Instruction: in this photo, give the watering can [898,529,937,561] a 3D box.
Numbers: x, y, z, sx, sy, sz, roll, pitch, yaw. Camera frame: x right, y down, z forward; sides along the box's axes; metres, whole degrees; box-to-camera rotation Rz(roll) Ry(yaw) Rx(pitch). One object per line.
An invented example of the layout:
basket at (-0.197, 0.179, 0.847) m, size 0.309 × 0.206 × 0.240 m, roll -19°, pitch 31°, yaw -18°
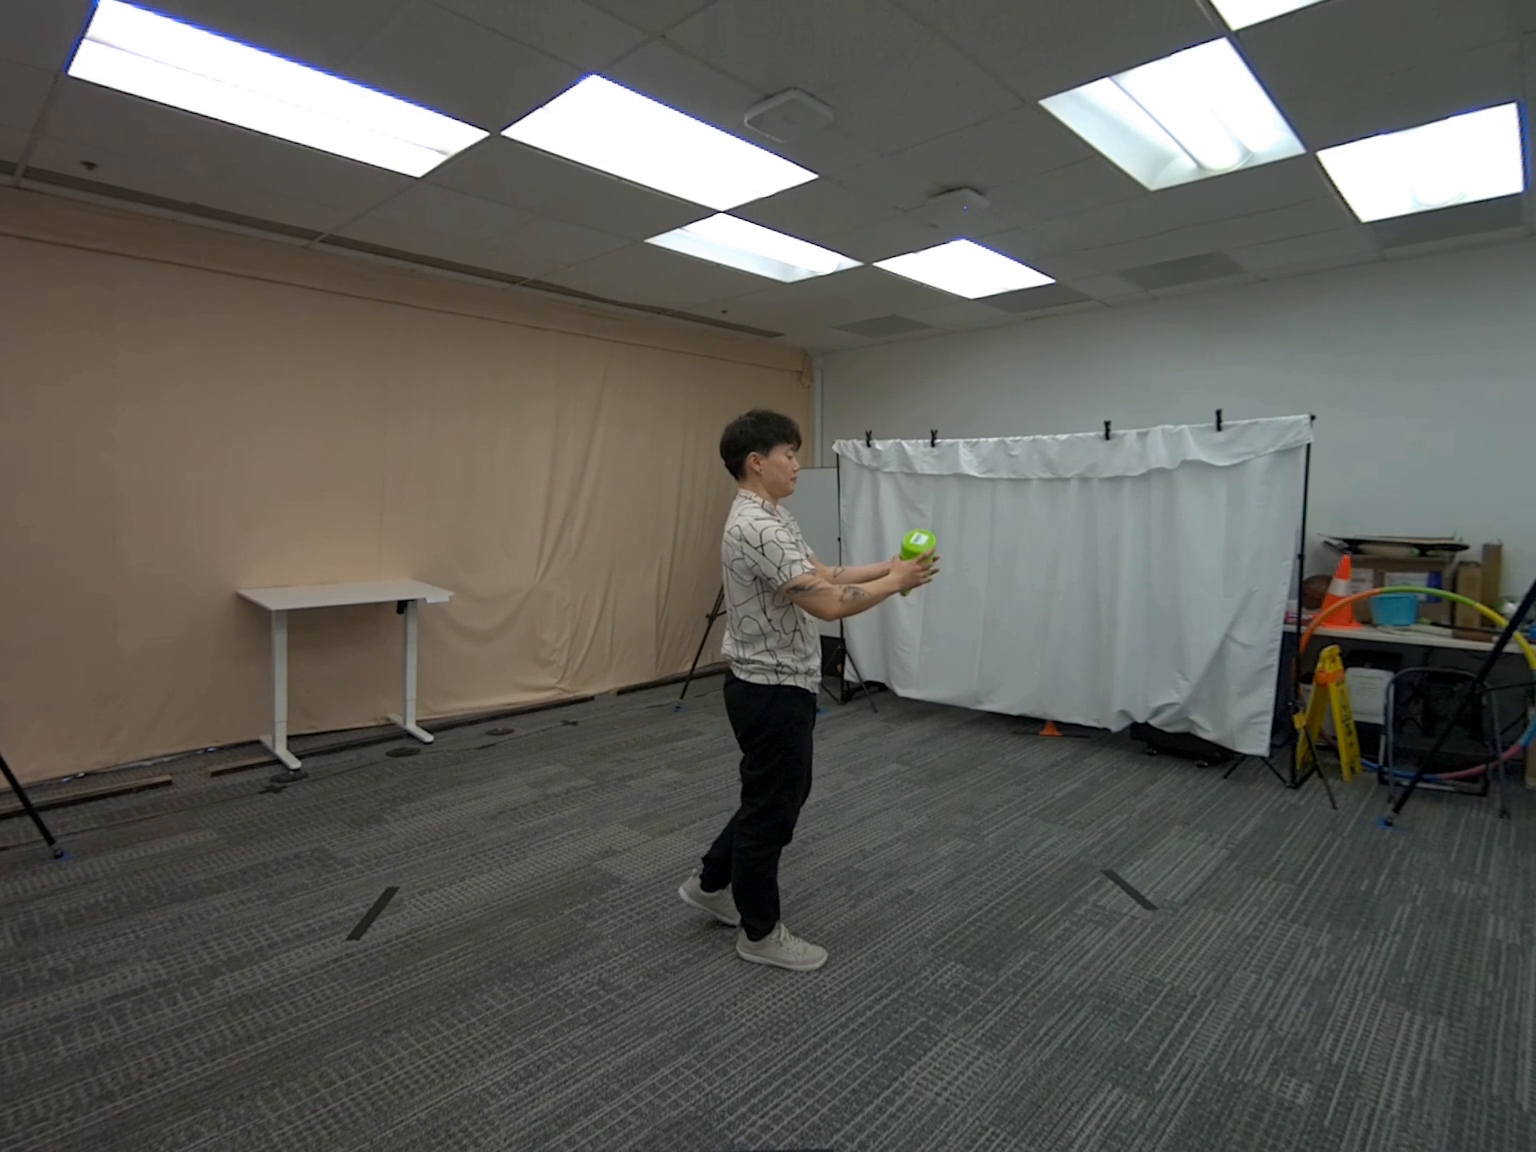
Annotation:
watering can at (0.453, -0.058, 2.524) m, size 0.099 × 0.174 × 0.279 m, roll 12°, pitch 34°, yaw 8°
